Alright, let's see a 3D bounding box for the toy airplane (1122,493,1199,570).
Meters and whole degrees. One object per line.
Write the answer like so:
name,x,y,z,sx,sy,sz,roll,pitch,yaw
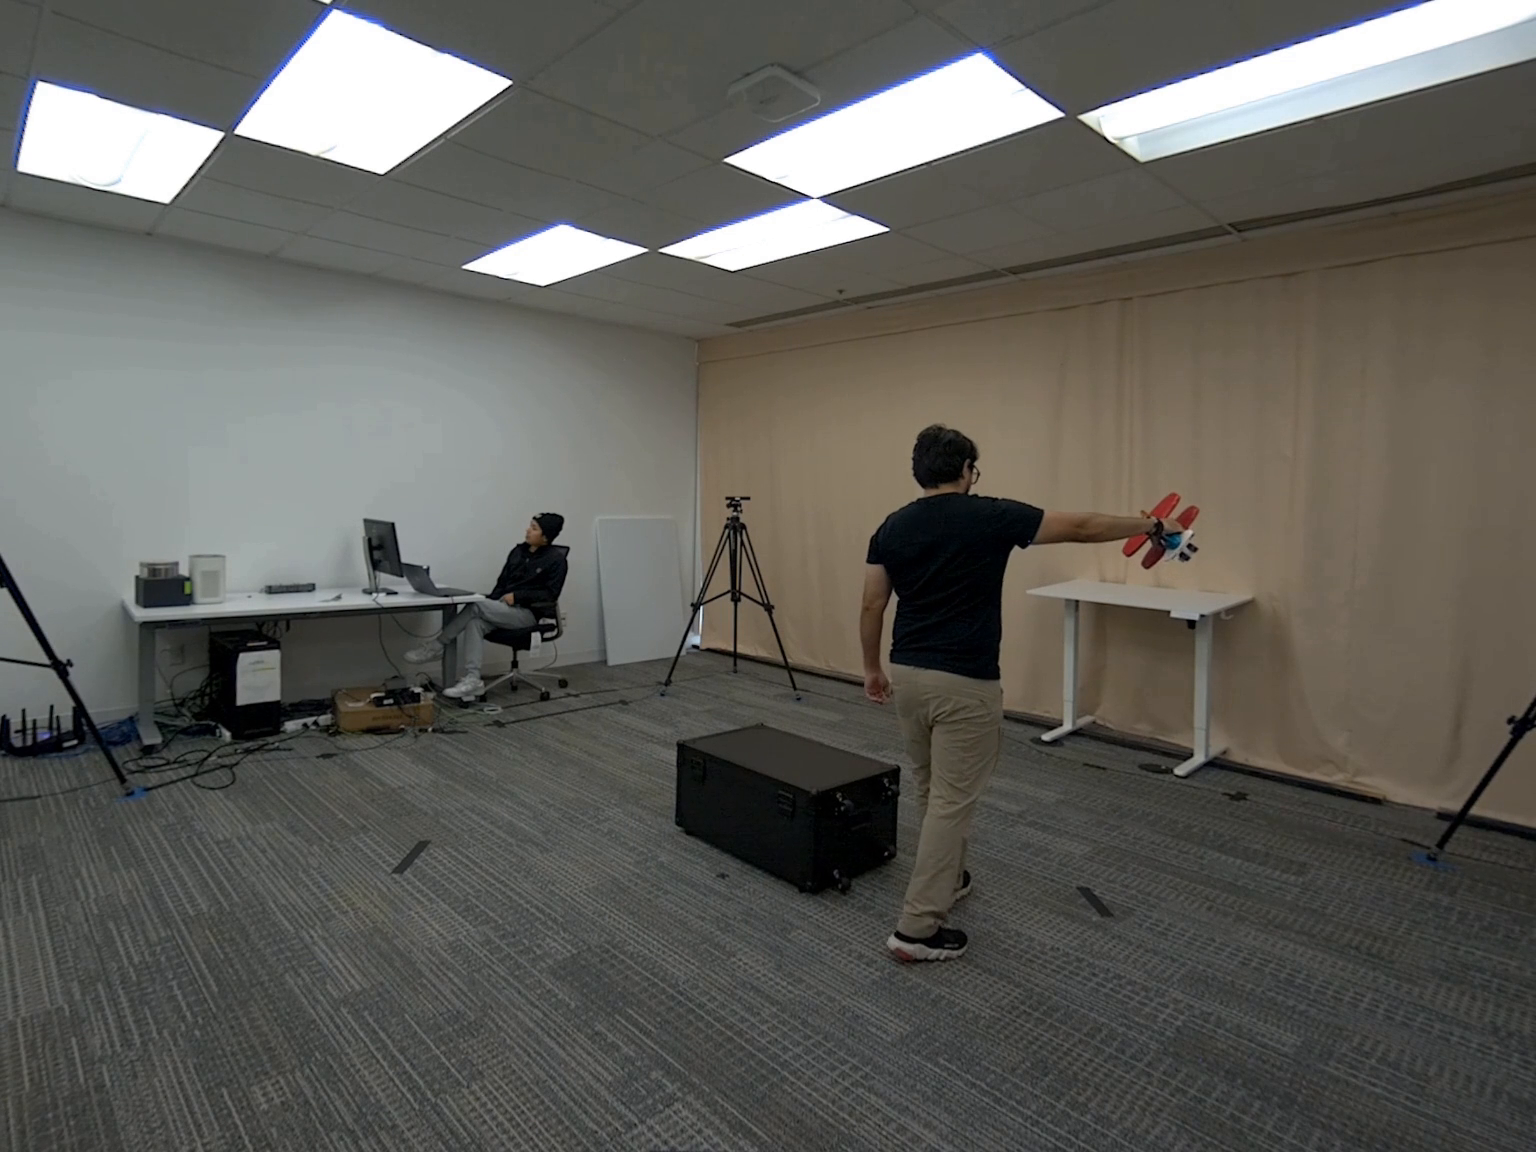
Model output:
toy airplane,1.316,-0.144,2.761,0.158,0.251,0.257,37,-10,6
